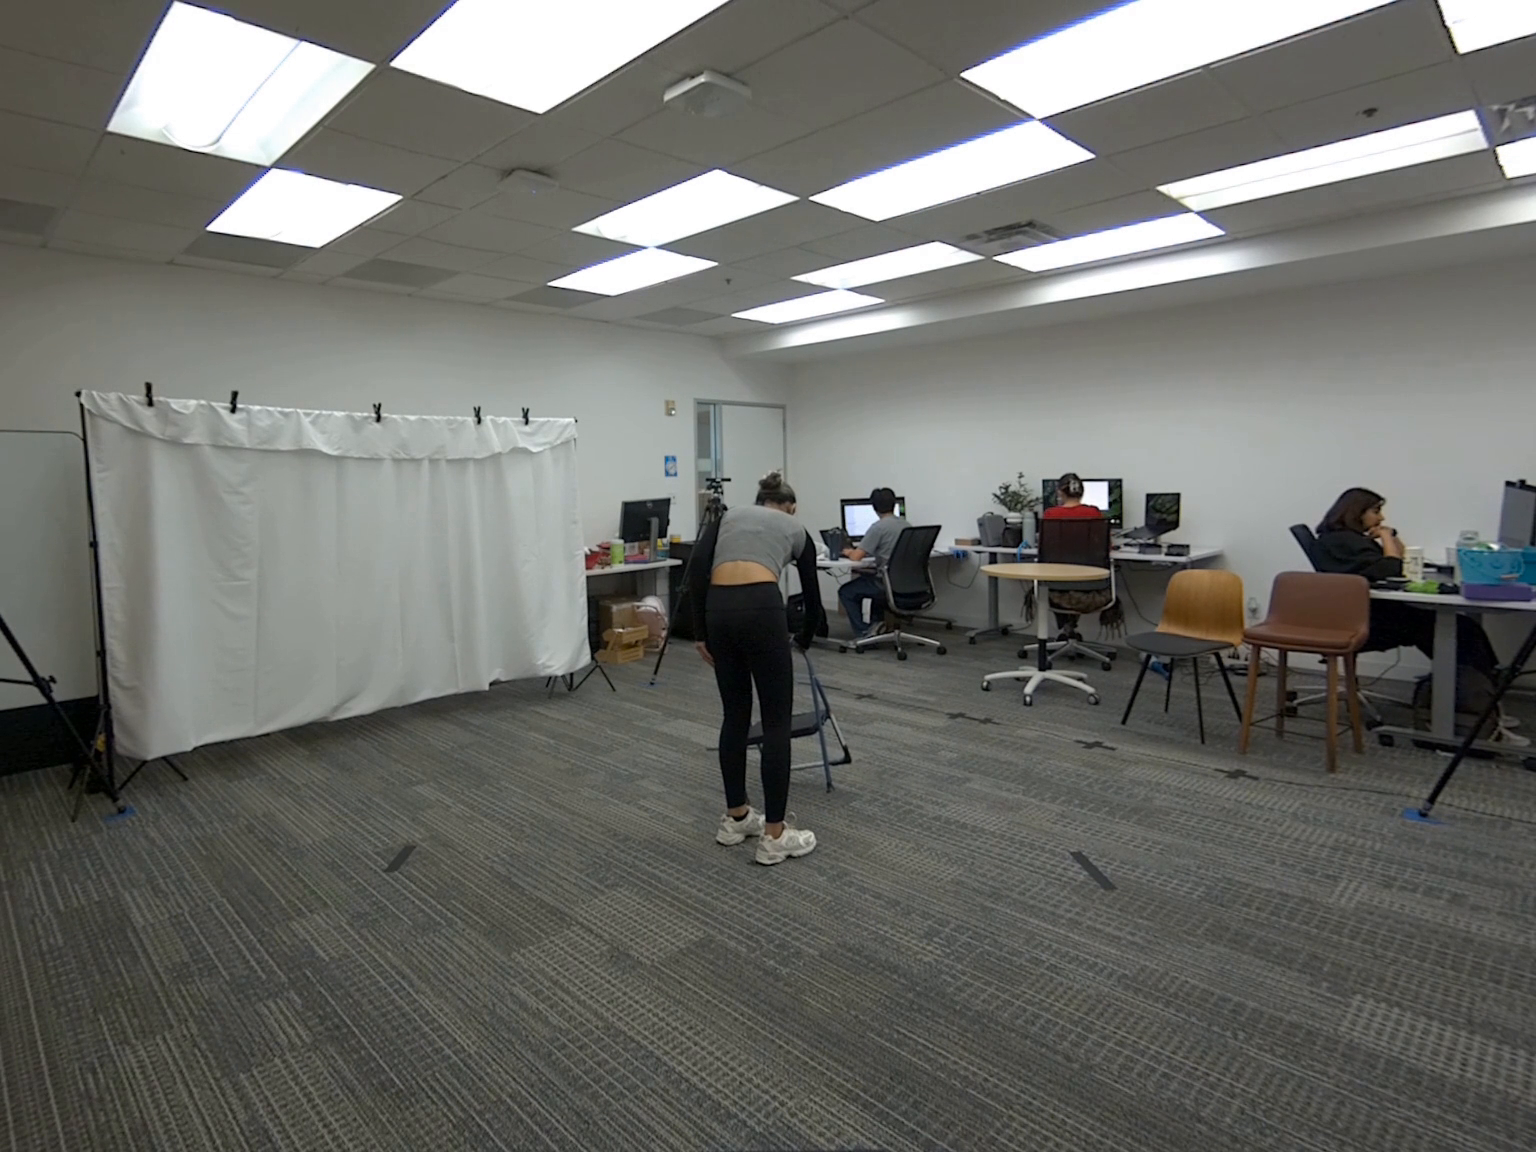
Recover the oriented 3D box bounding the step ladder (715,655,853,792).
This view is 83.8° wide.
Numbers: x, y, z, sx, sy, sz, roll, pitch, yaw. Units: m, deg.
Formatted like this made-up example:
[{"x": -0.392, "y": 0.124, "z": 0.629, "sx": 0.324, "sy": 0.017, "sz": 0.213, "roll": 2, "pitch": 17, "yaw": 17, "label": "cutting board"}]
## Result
[{"x": 0.058, "y": 0.616, "z": 3.739, "sx": 0.437, "sy": 0.606, "sz": 0.344, "roll": -16, "pitch": 1, "yaw": 24, "label": "step ladder"}]
